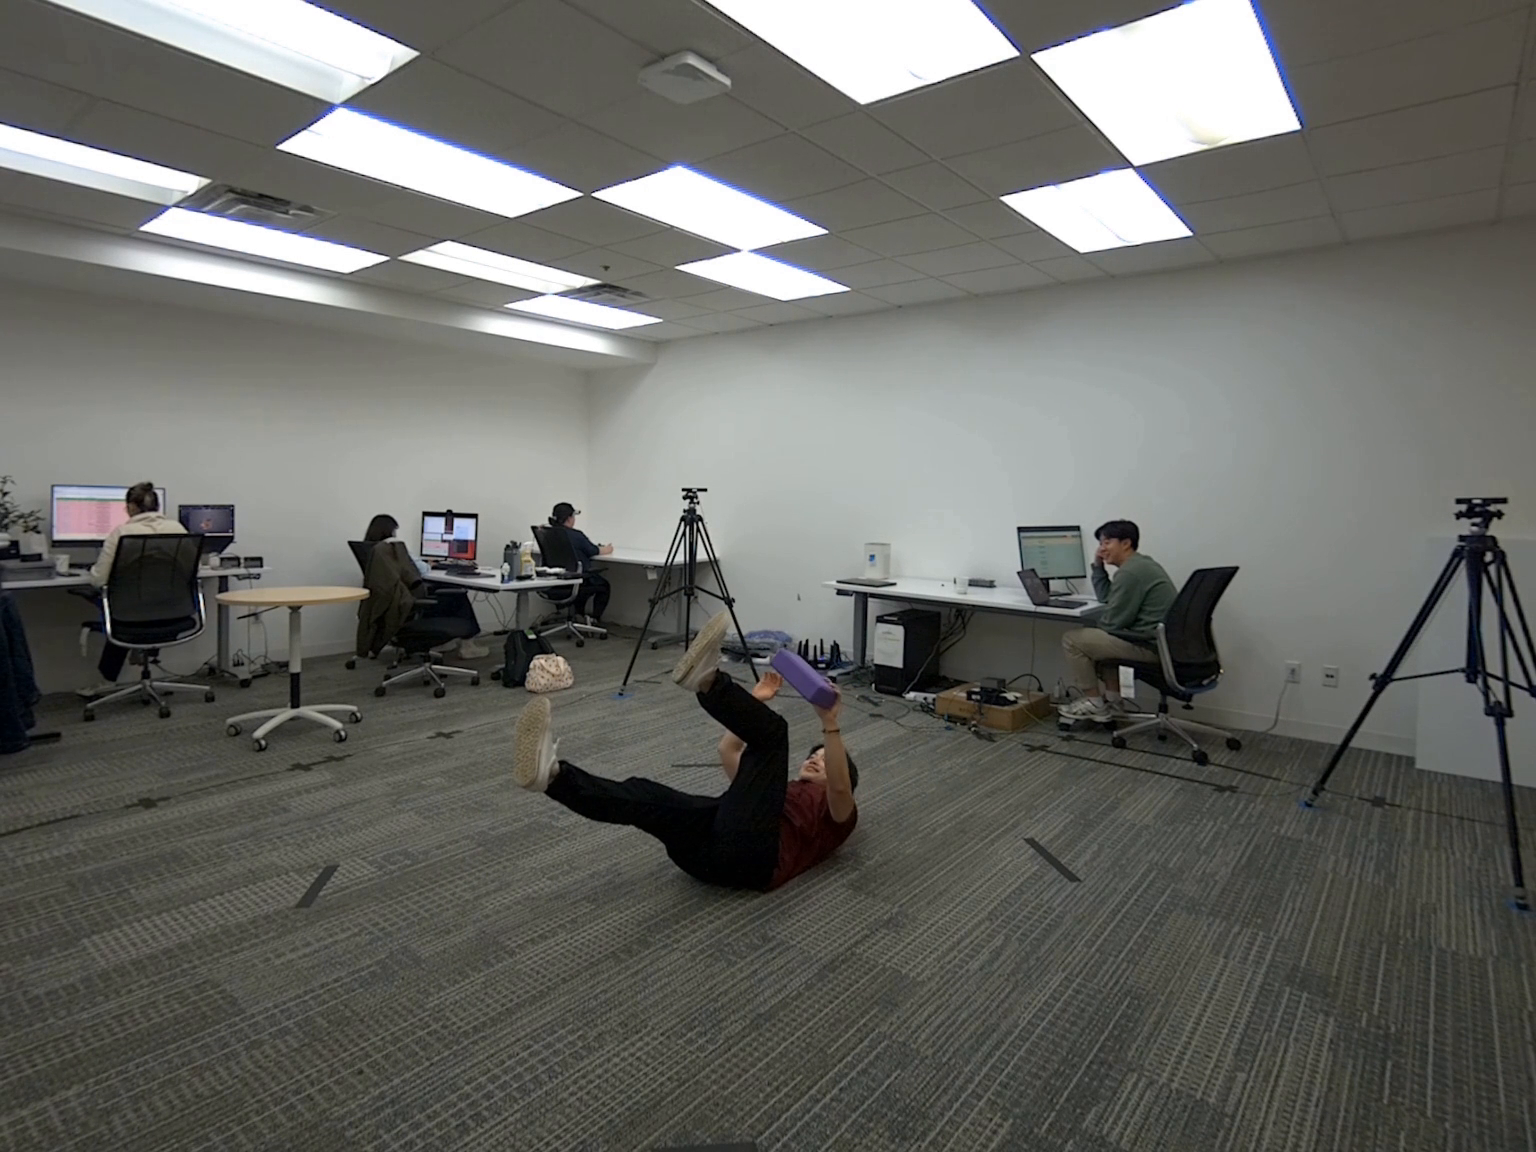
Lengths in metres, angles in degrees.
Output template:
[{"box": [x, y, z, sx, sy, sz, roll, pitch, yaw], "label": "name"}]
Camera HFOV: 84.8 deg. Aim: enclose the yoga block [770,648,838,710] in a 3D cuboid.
[{"box": [0.126, 0.369, 3.064, 0.239, 0.076, 0.143, 40, 6, 35], "label": "yoga block"}]
